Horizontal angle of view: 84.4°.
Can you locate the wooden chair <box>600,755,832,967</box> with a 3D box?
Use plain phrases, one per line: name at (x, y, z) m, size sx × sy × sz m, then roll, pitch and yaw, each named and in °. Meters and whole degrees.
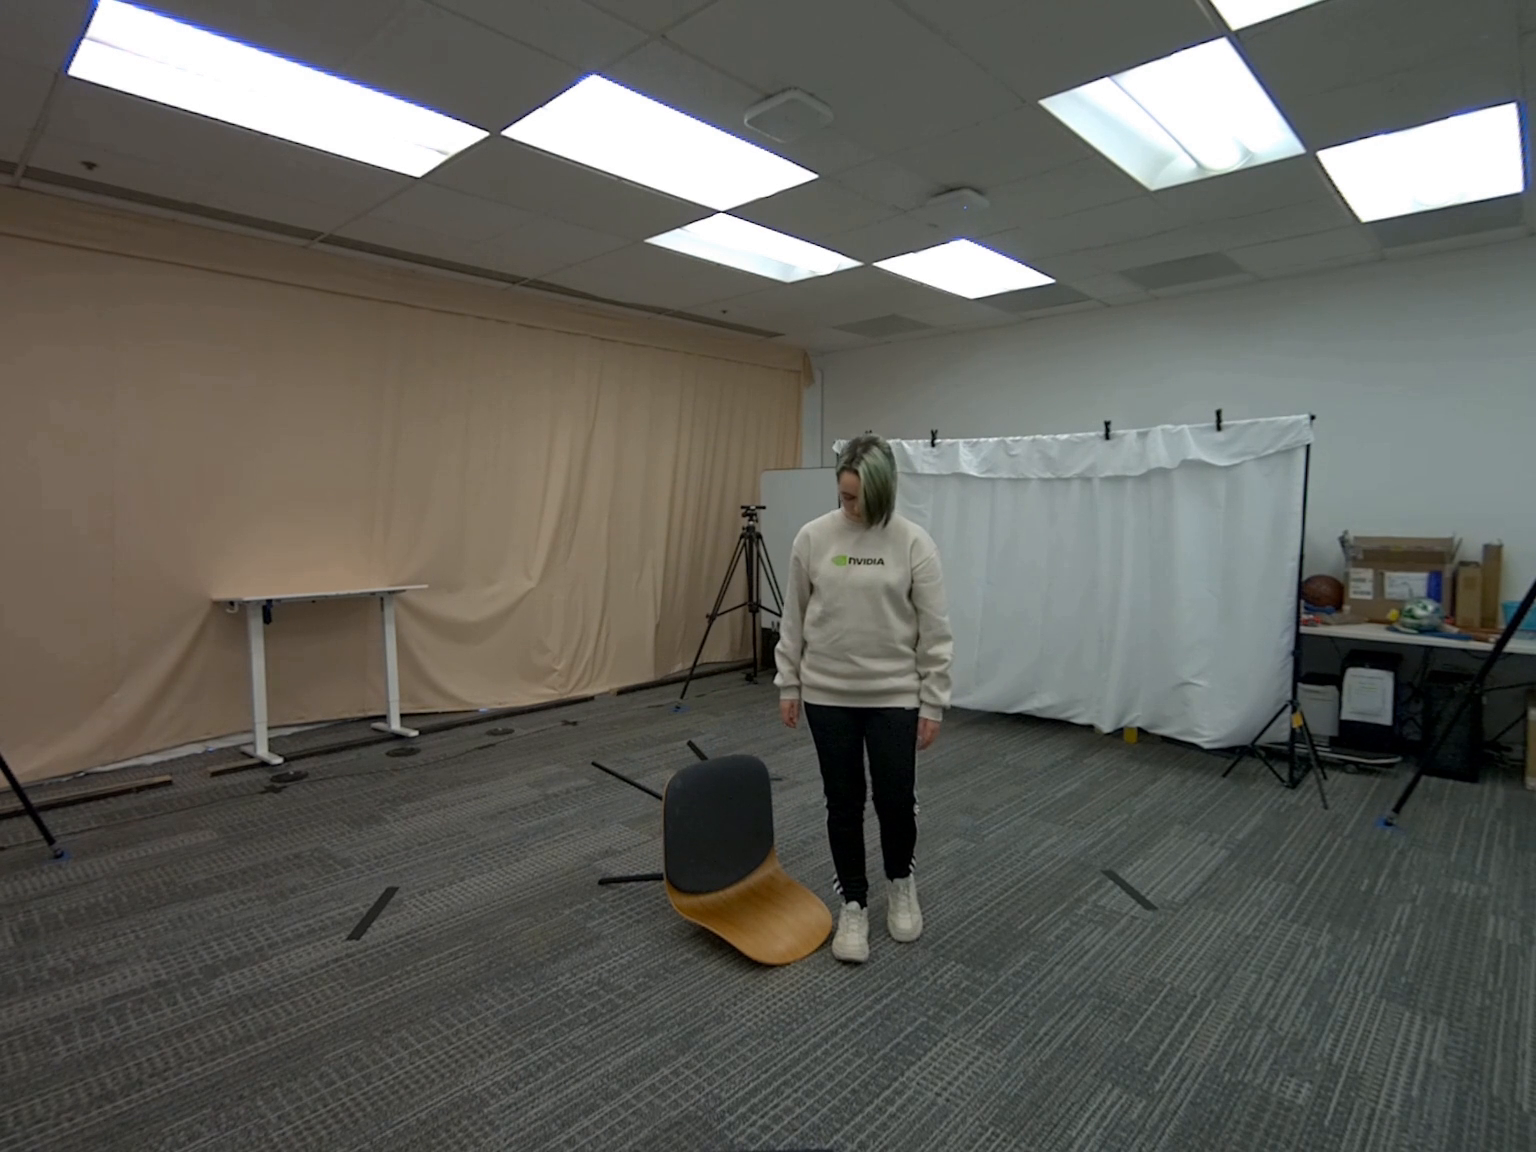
wooden chair at (-0.189, 0.893, 2.910) m, size 0.464 × 0.521 × 0.907 m, roll -4°, pitch 7°, yaw -39°
